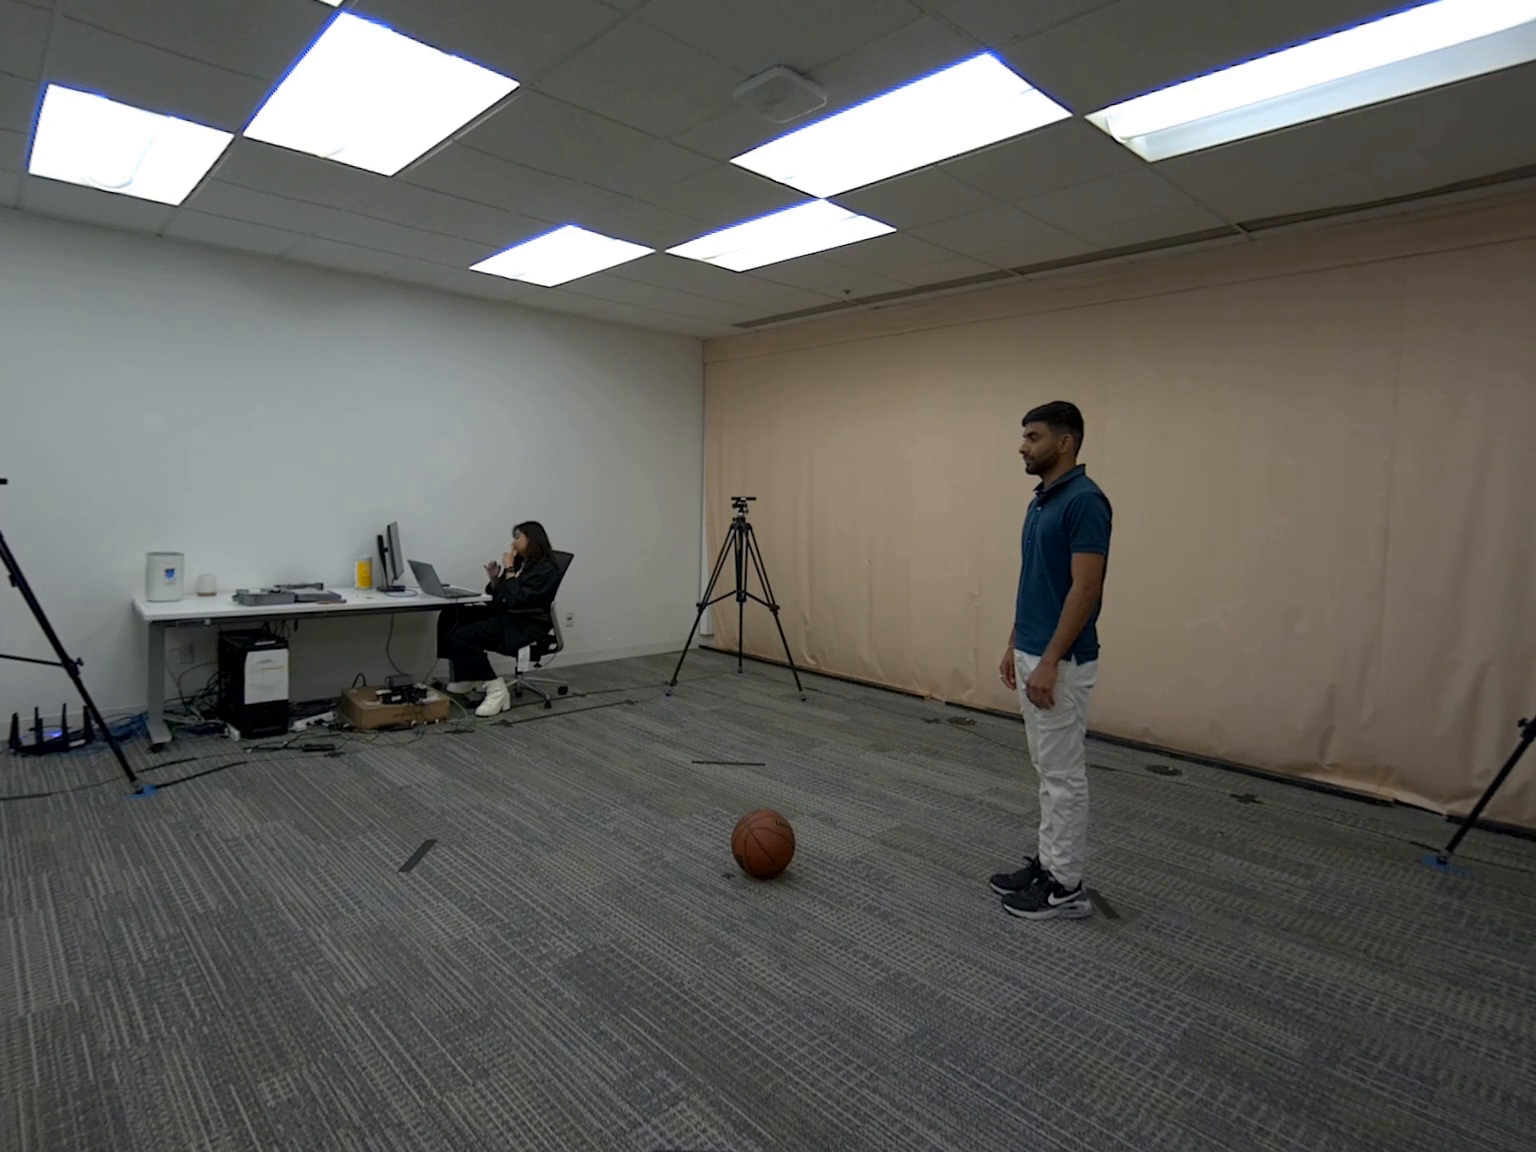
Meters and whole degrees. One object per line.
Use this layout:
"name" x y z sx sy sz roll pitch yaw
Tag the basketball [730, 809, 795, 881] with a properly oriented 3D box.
"basketball" -0.023 0.983 3.121 0.236 0.235 0.237 1 4 -1
